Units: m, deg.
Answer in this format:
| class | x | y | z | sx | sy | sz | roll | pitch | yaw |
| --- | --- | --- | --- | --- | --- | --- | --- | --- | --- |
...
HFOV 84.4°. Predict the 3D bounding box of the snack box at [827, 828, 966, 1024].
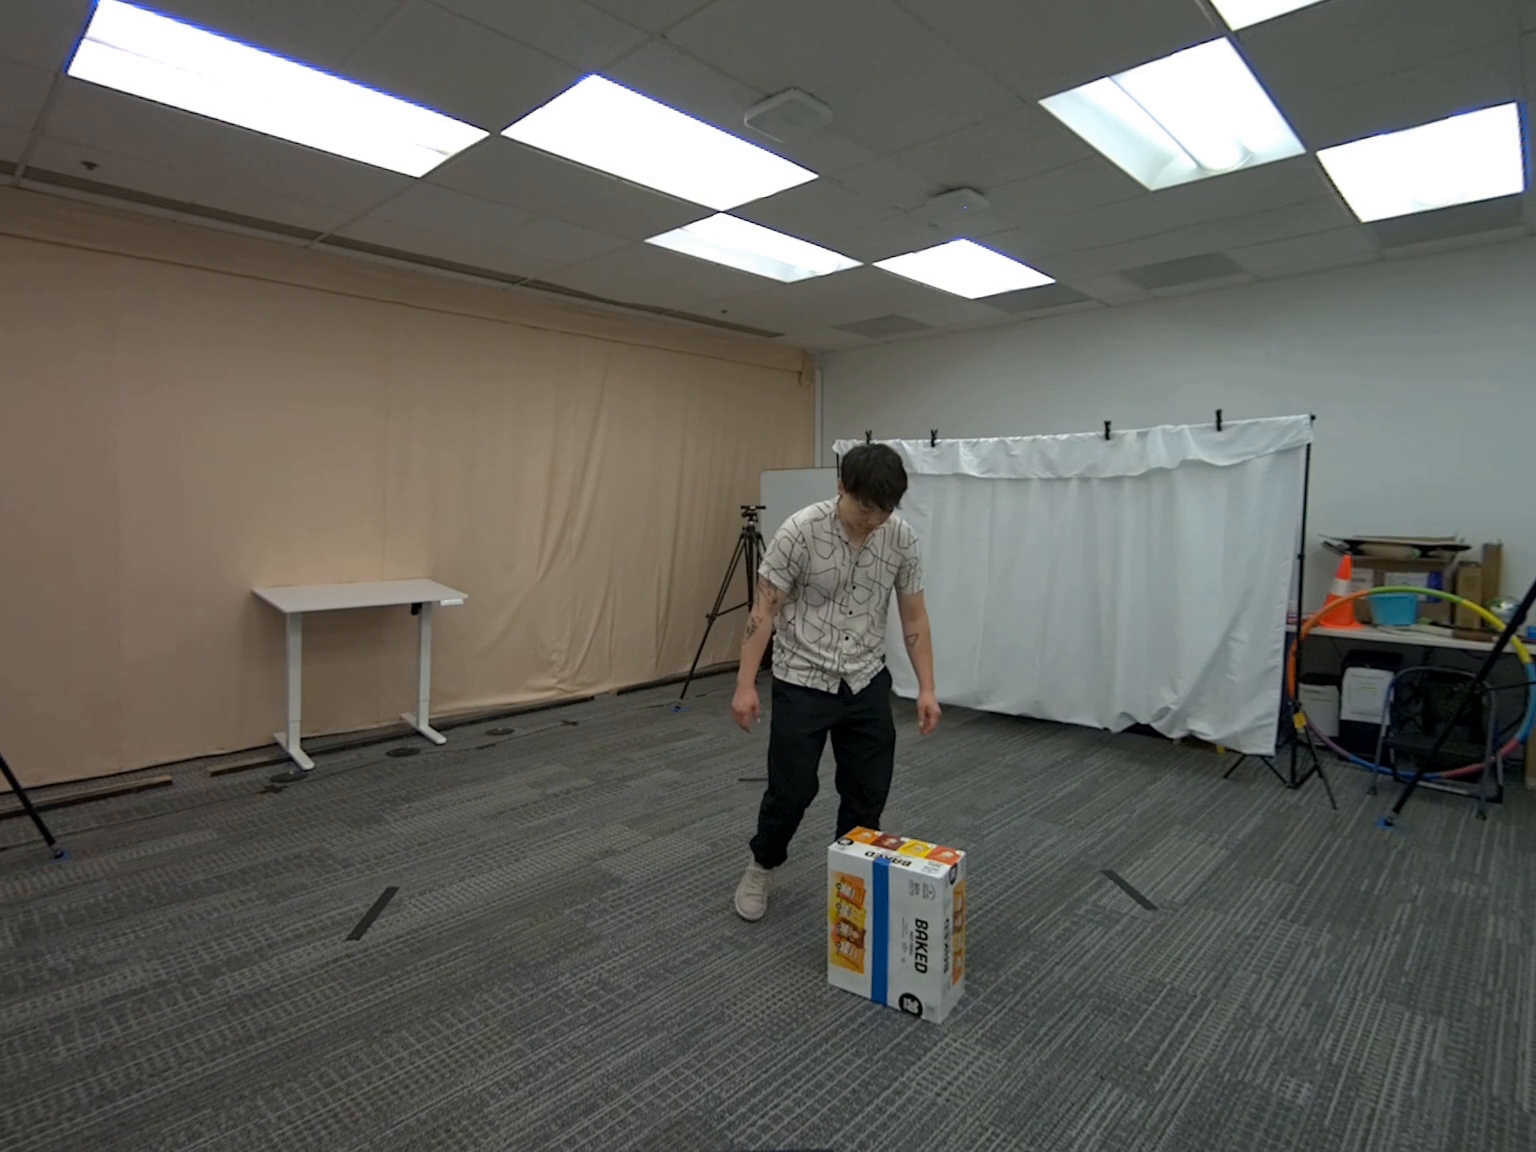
| class | x | y | z | sx | sy | sz | roll | pitch | yaw |
| --- | --- | --- | --- | --- | --- | --- | --- | --- | --- |
| snack box | 0.378 | 0.988 | 2.416 | 0.351 | 0.404 | 0.200 | 1 | 3 | 34 |
